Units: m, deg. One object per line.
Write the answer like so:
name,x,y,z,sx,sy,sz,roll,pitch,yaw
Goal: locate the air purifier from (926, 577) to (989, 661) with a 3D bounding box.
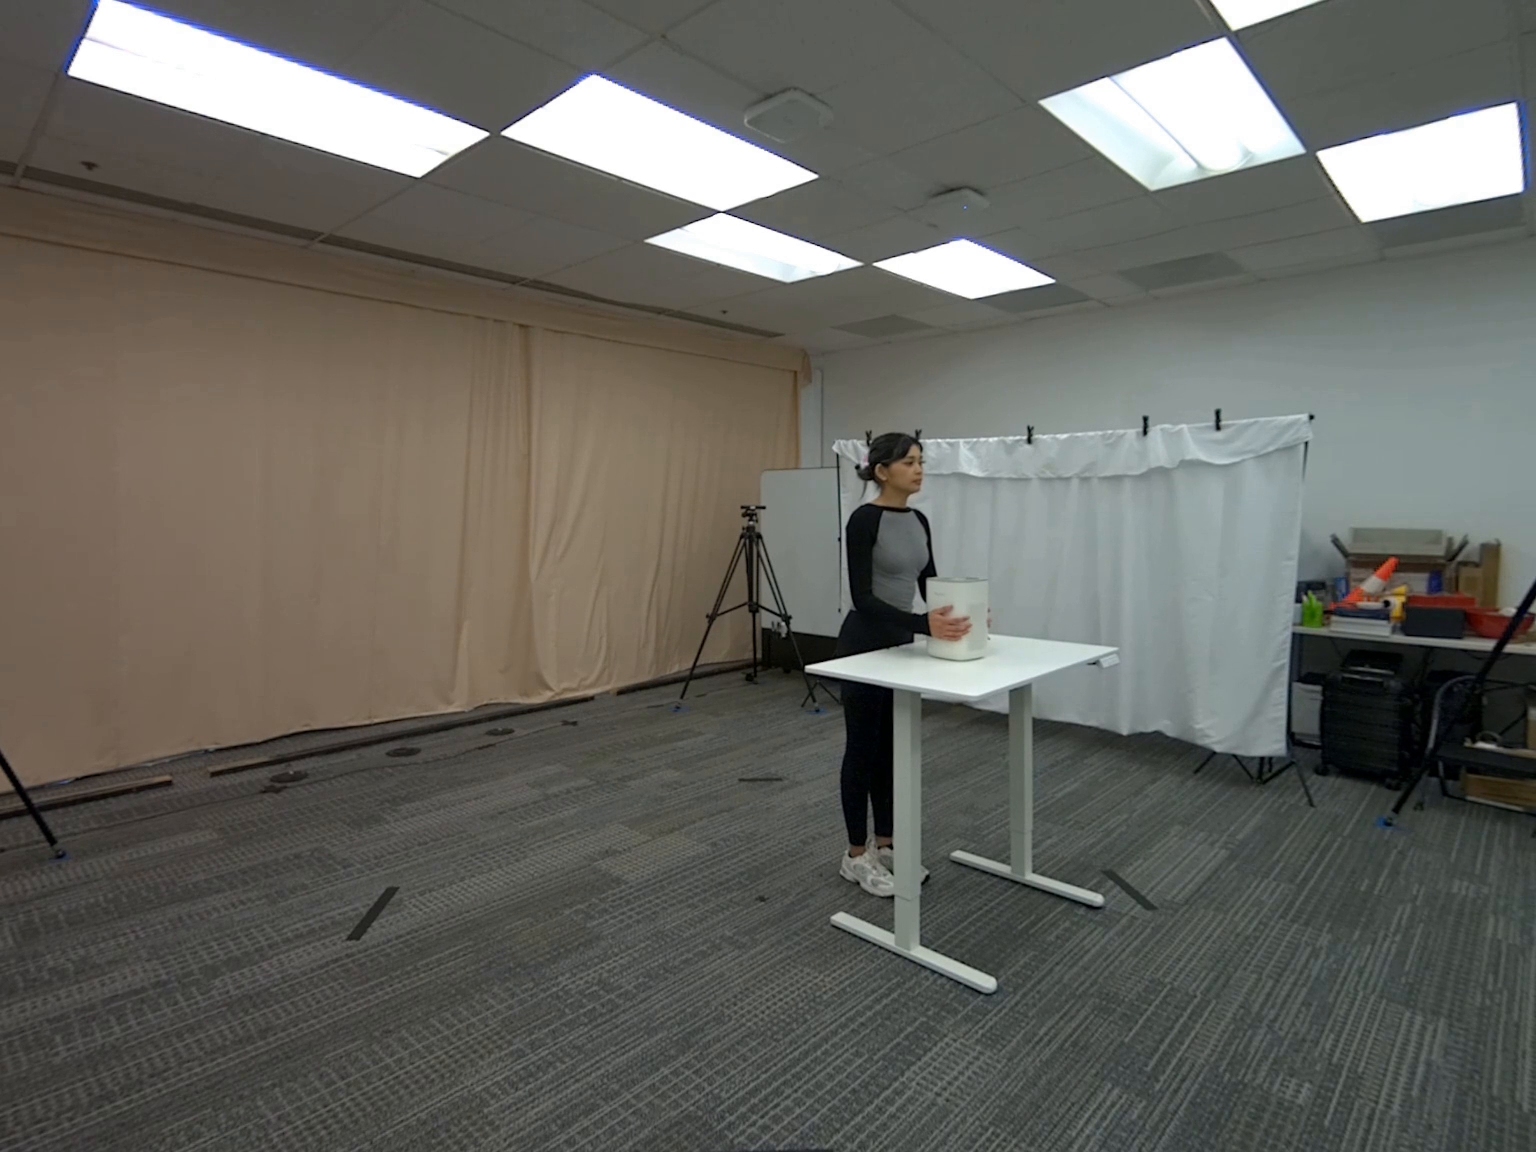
air purifier,0.637,0.141,2.823,0.166,0.265,0.176,-4,4,-37
